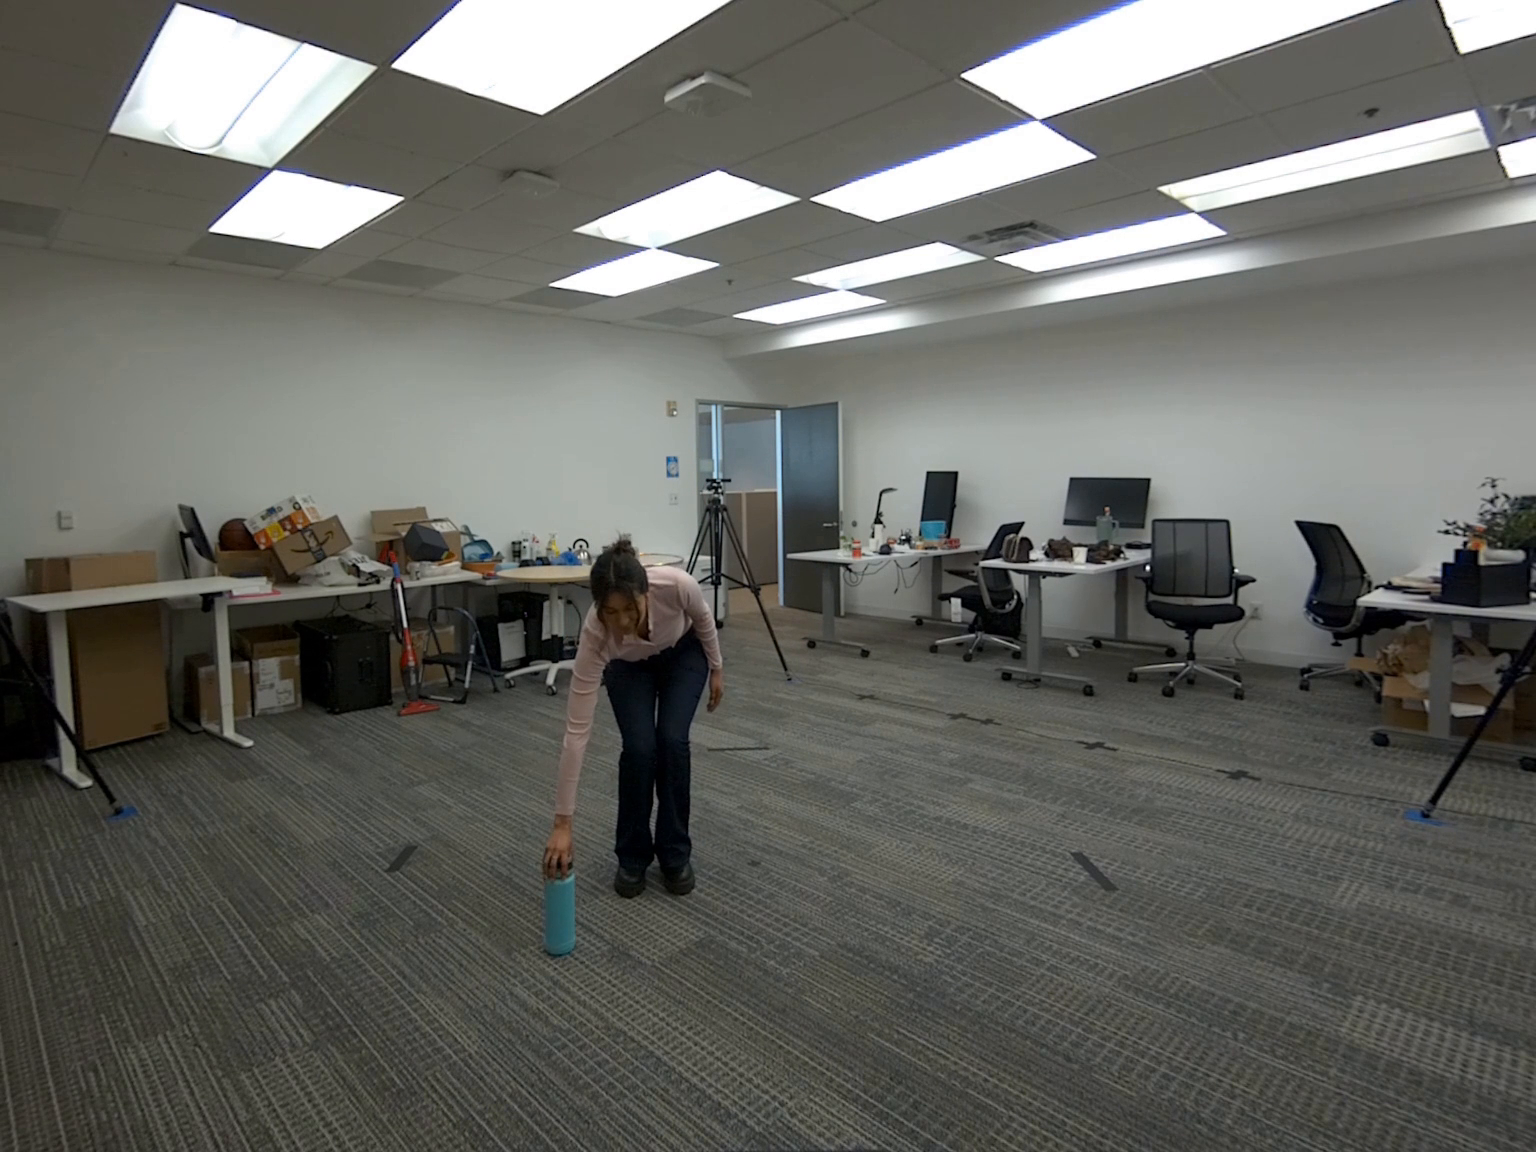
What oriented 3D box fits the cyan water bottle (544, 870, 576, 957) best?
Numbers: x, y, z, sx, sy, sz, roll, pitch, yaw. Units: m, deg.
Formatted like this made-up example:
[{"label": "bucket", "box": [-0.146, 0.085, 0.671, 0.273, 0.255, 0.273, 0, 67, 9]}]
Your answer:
[{"label": "cyan water bottle", "box": [-0.619, 0.965, 2.552, 0.092, 0.282, 0.093, -2, 3, -2]}]
